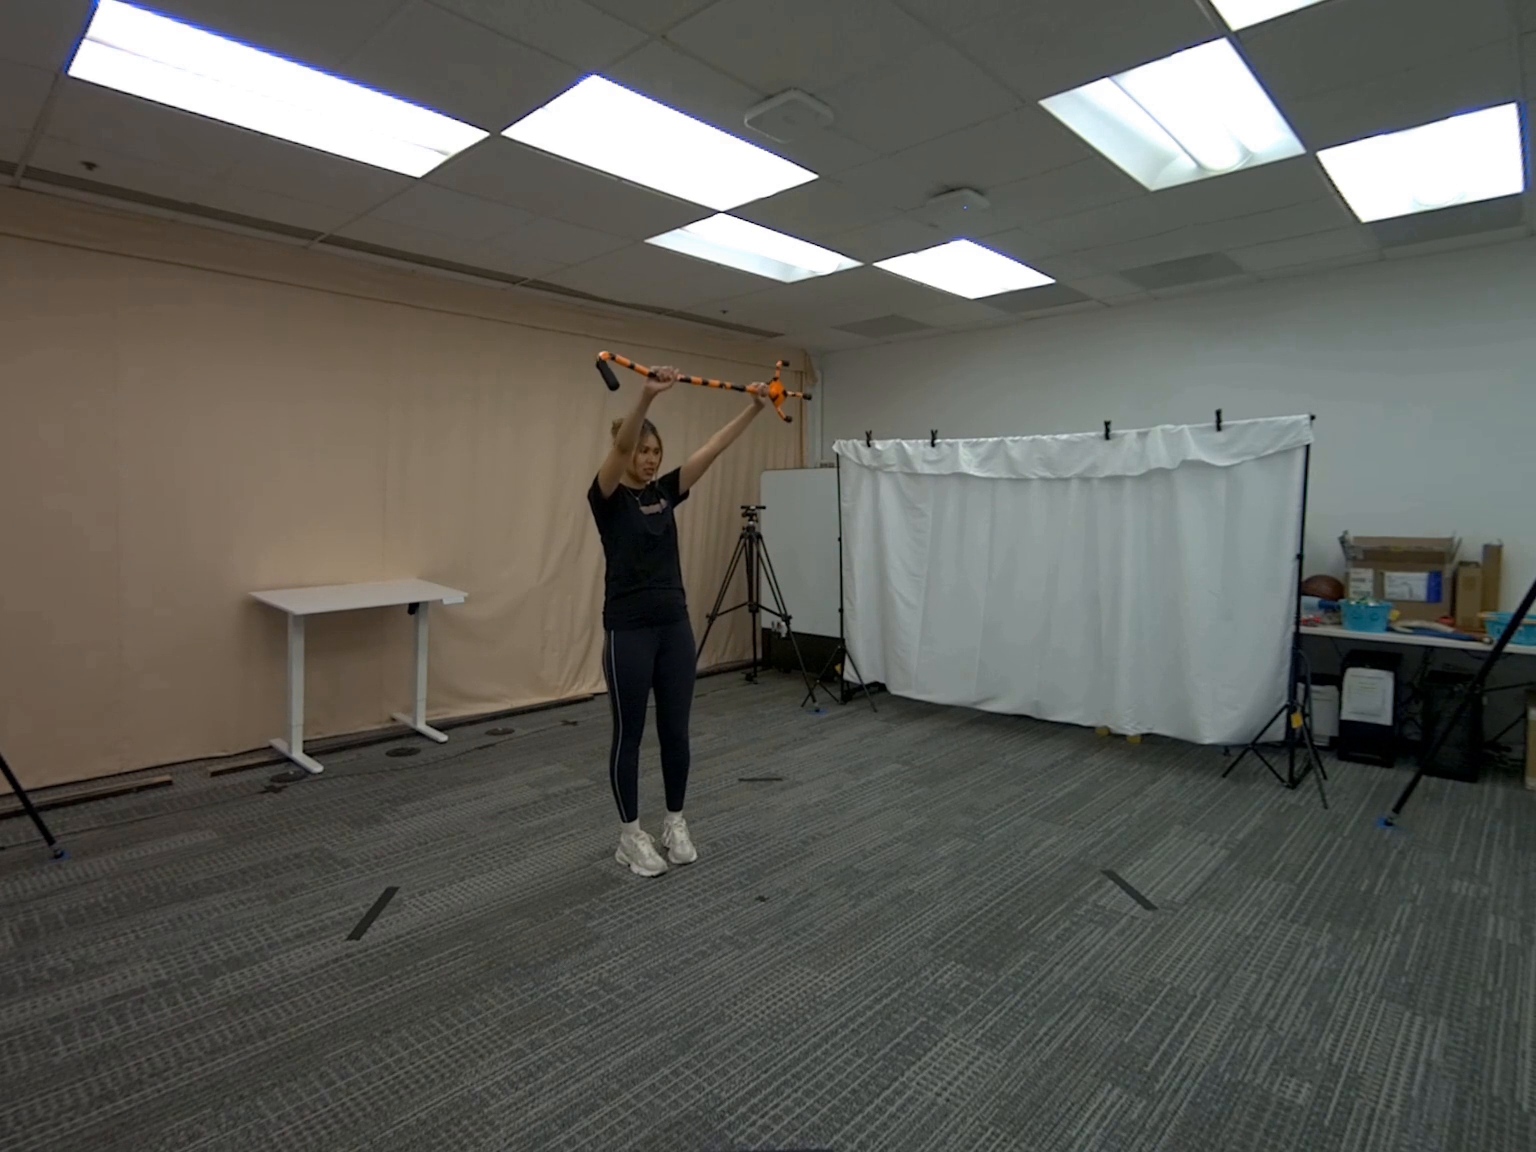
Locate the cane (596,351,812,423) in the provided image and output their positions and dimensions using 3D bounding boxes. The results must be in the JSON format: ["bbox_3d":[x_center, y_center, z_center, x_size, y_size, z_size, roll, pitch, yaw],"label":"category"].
[{"bbox_3d":[-0.214,-0.681,2.909,0.880,0.211,0.152,-5,-35,-47],"label":"cane"}]
